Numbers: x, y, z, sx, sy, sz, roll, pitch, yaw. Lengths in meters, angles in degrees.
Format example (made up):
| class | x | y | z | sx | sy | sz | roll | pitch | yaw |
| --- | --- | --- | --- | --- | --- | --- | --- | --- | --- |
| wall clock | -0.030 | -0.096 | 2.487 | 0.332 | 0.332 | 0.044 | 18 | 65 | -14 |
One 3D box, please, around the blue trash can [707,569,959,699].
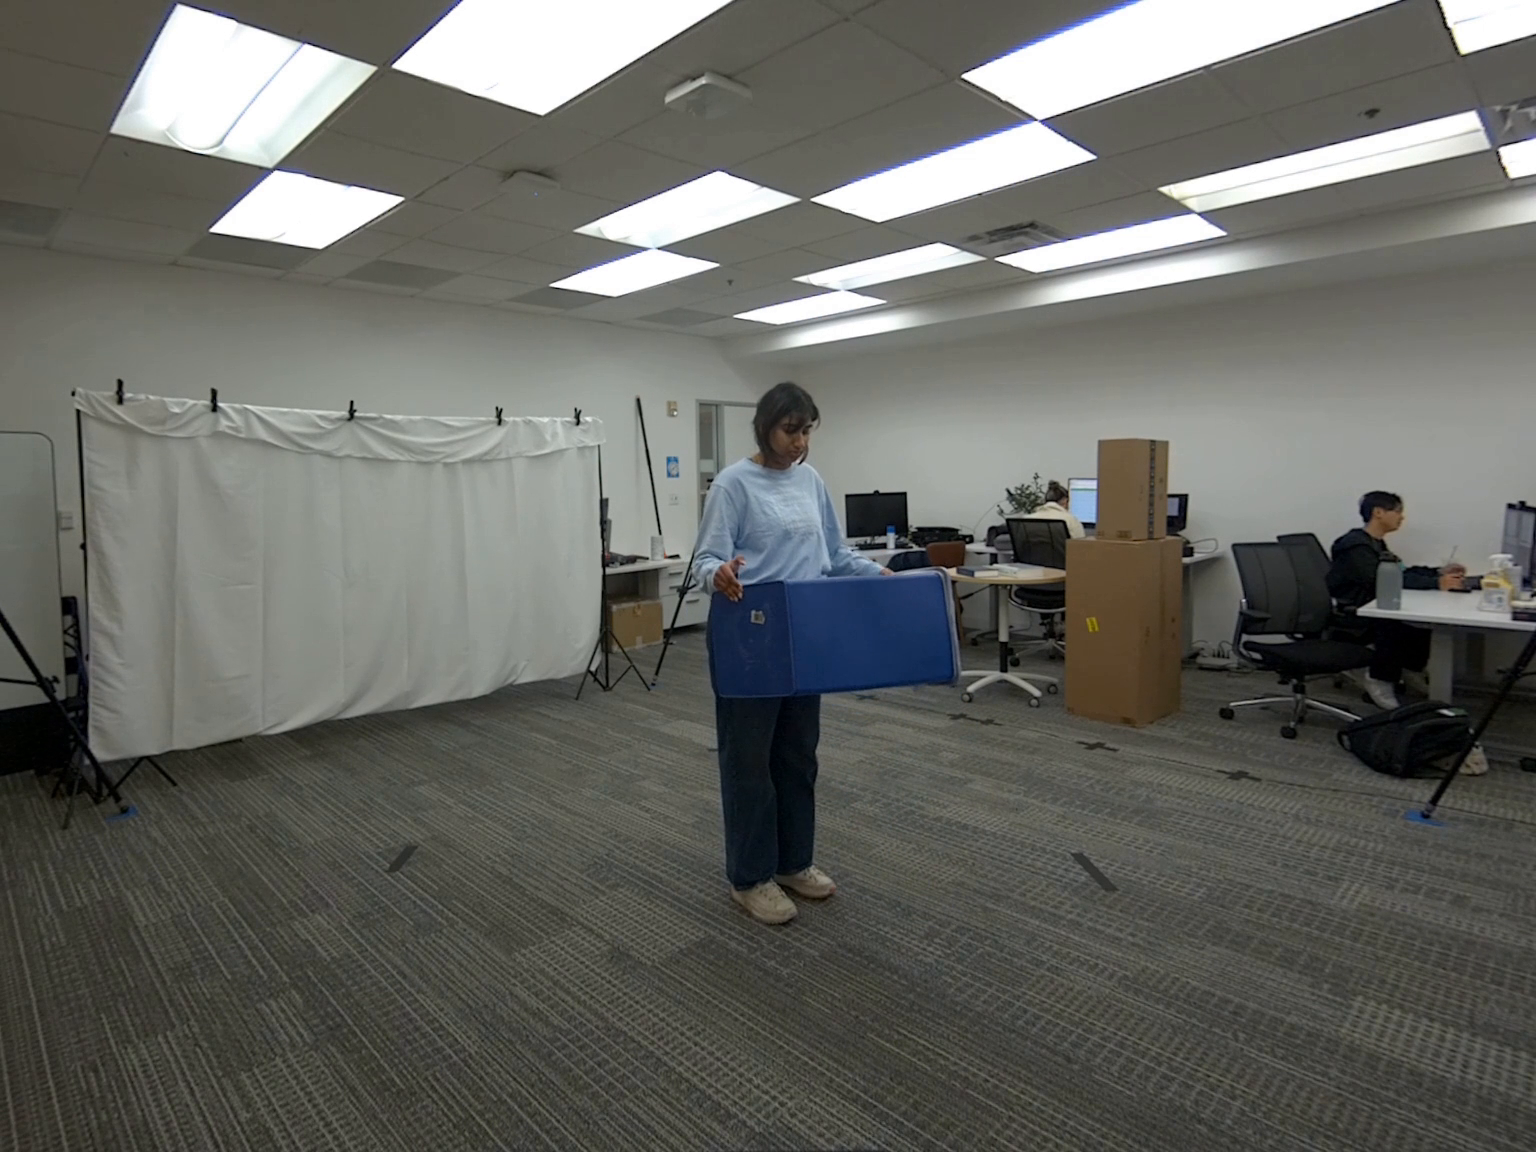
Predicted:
| class | x | y | z | sx | sy | sz | roll | pitch | yaw |
| --- | --- | --- | --- | --- | --- | --- | --- | --- | --- |
| blue trash can | 0.212 | 0.172 | 2.538 | 0.692 | 0.377 | 0.387 | 1 | -8 | -44 |
